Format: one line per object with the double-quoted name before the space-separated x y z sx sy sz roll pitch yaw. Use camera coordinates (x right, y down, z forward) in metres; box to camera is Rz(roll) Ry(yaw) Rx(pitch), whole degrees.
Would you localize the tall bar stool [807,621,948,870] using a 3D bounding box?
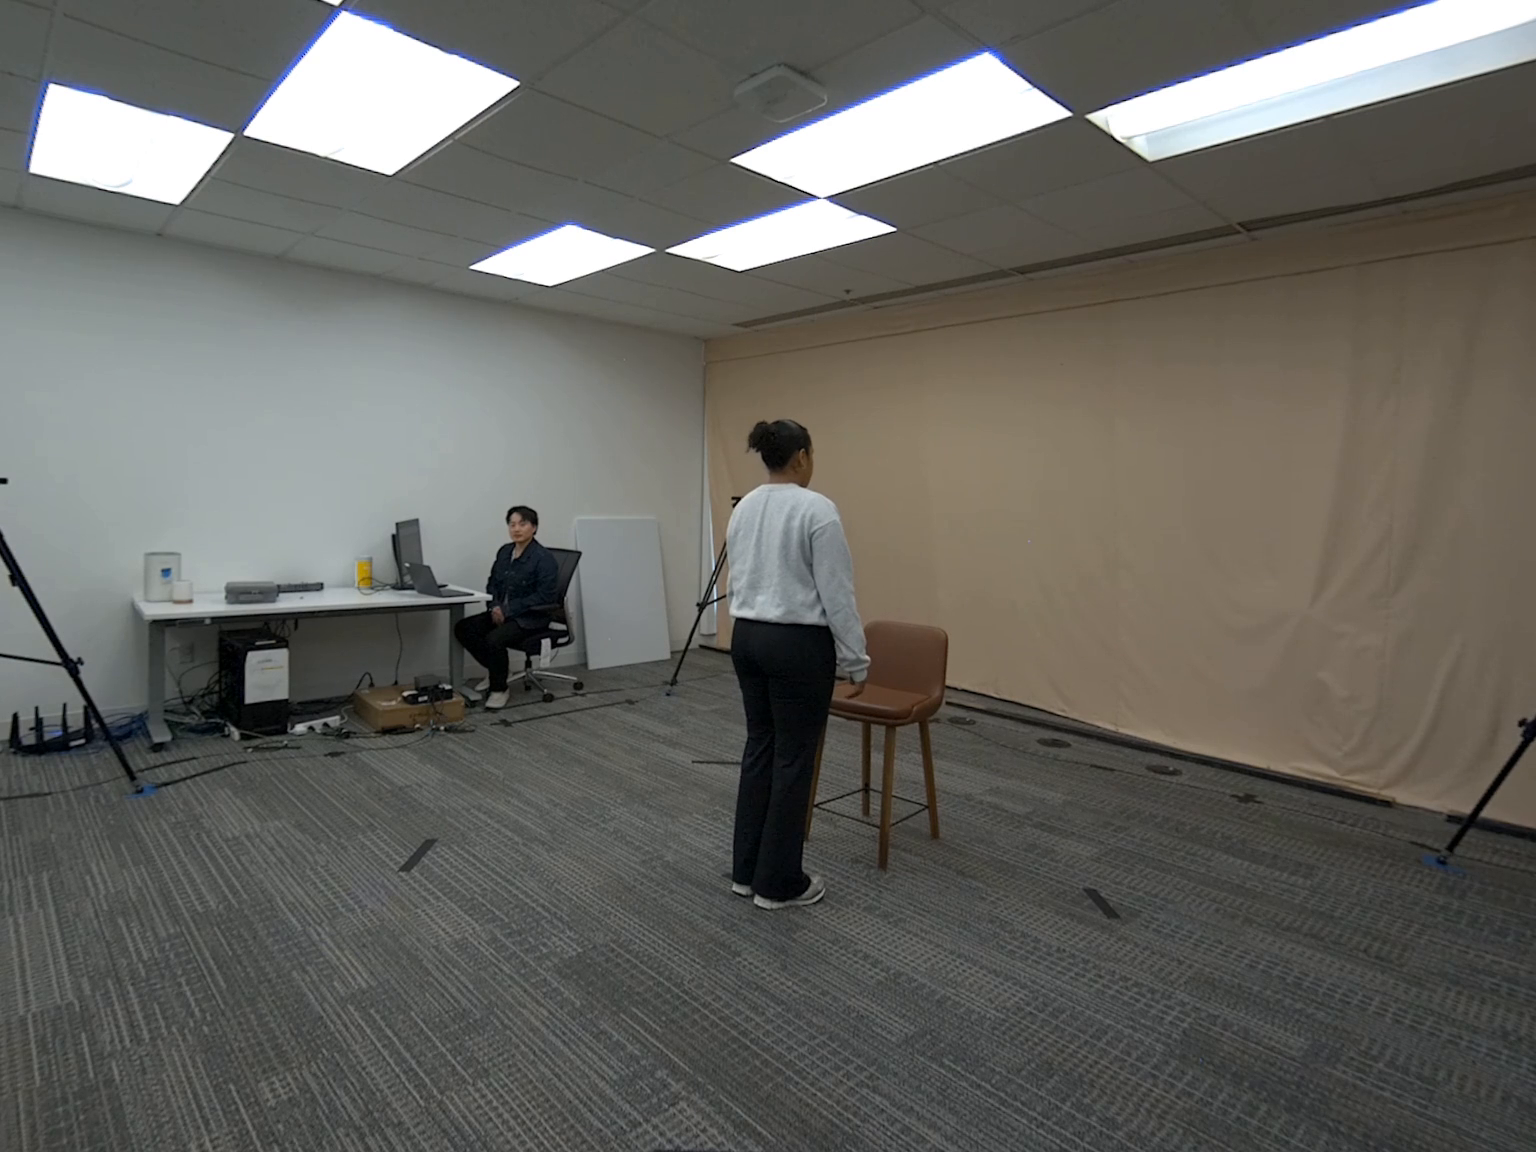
"tall bar stool" 0.438 0.650 3.455 0.468 0.889 0.456 4 2 42
